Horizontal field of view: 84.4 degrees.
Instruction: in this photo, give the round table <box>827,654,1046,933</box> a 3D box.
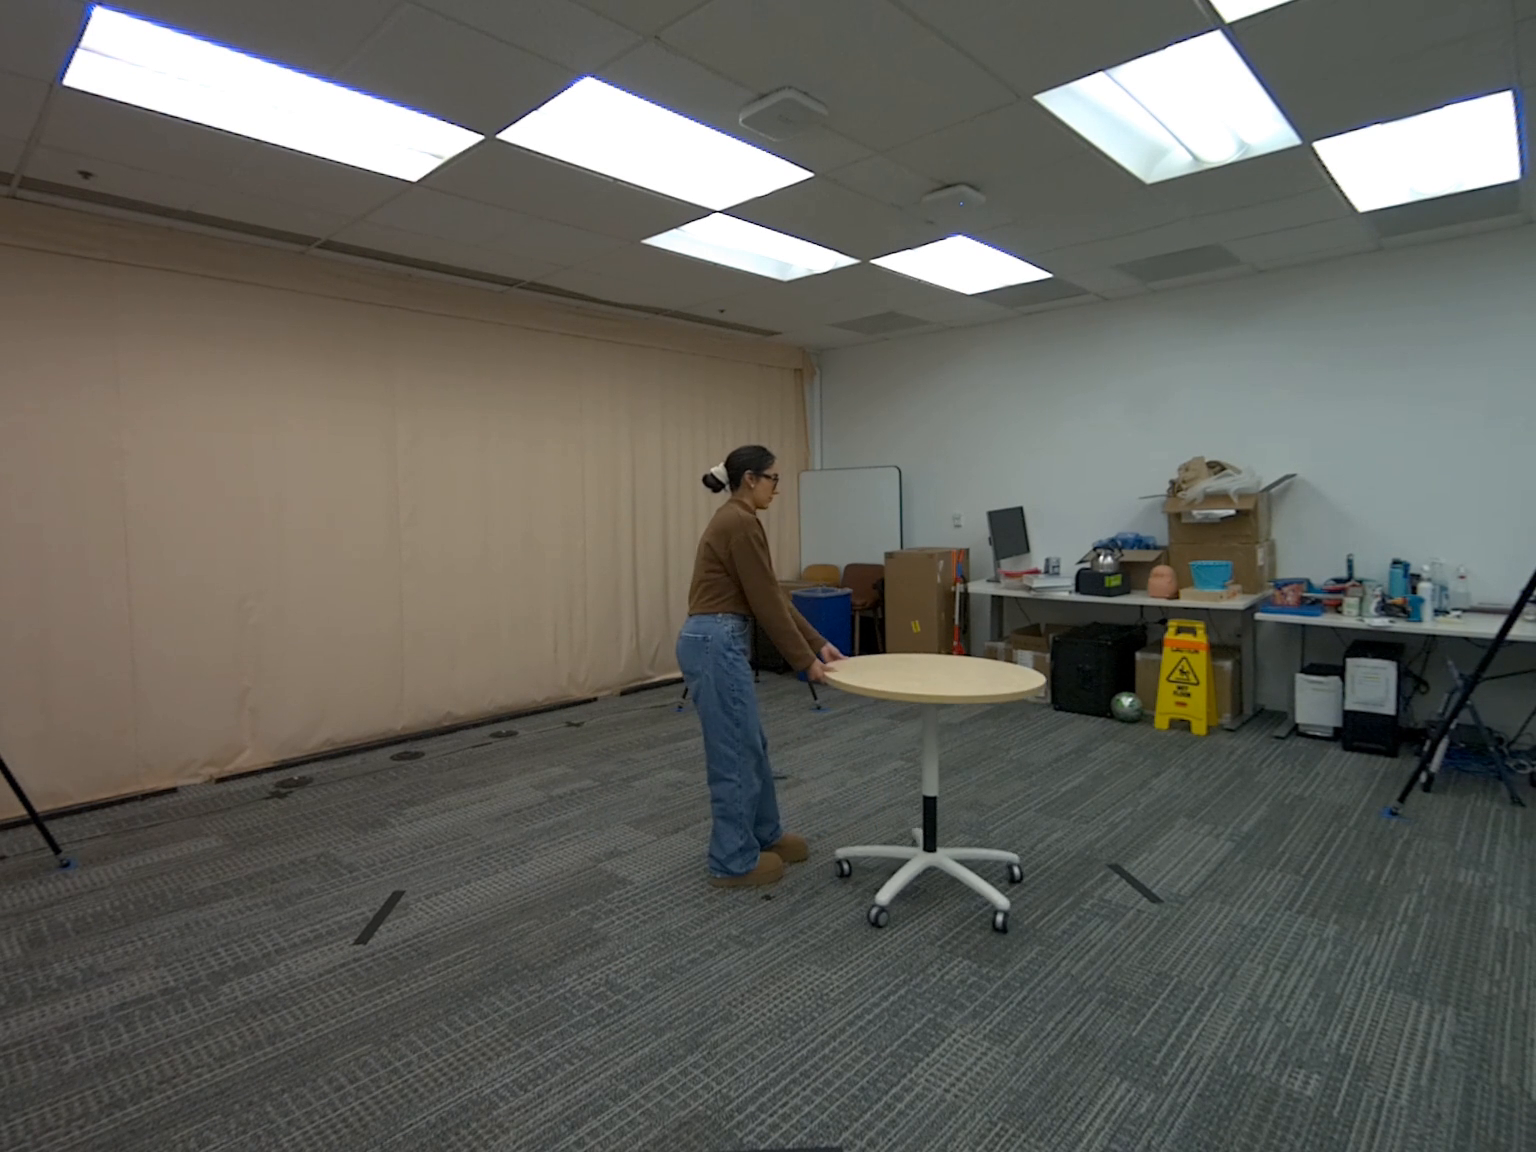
[{"bbox_3d":[0.553,0.735,2.997,0.784,0.785,0.787,-1,3,-2],"label":"round table"}]
